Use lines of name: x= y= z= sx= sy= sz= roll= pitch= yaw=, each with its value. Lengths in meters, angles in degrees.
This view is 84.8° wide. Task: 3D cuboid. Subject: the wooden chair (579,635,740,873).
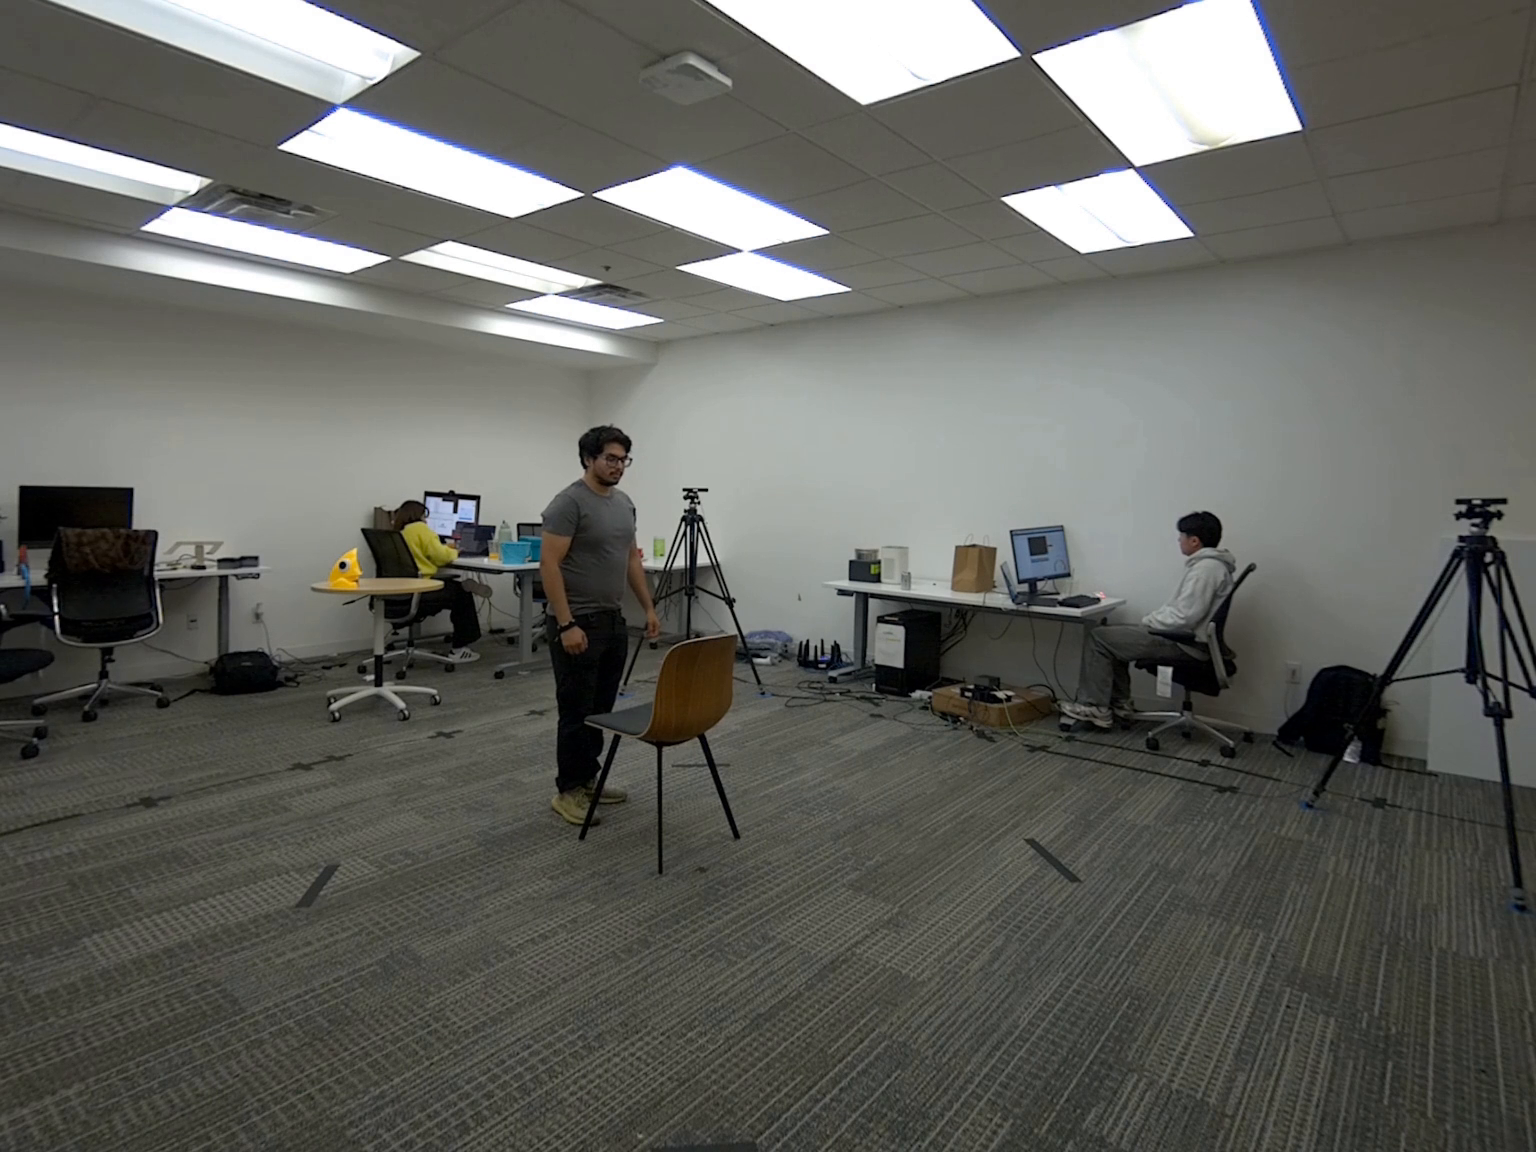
wooden chair: x=-0.436 y=0.617 z=3.347 sx=0.542 sy=0.873 sz=0.464 roll=9 pitch=7 yaw=38
